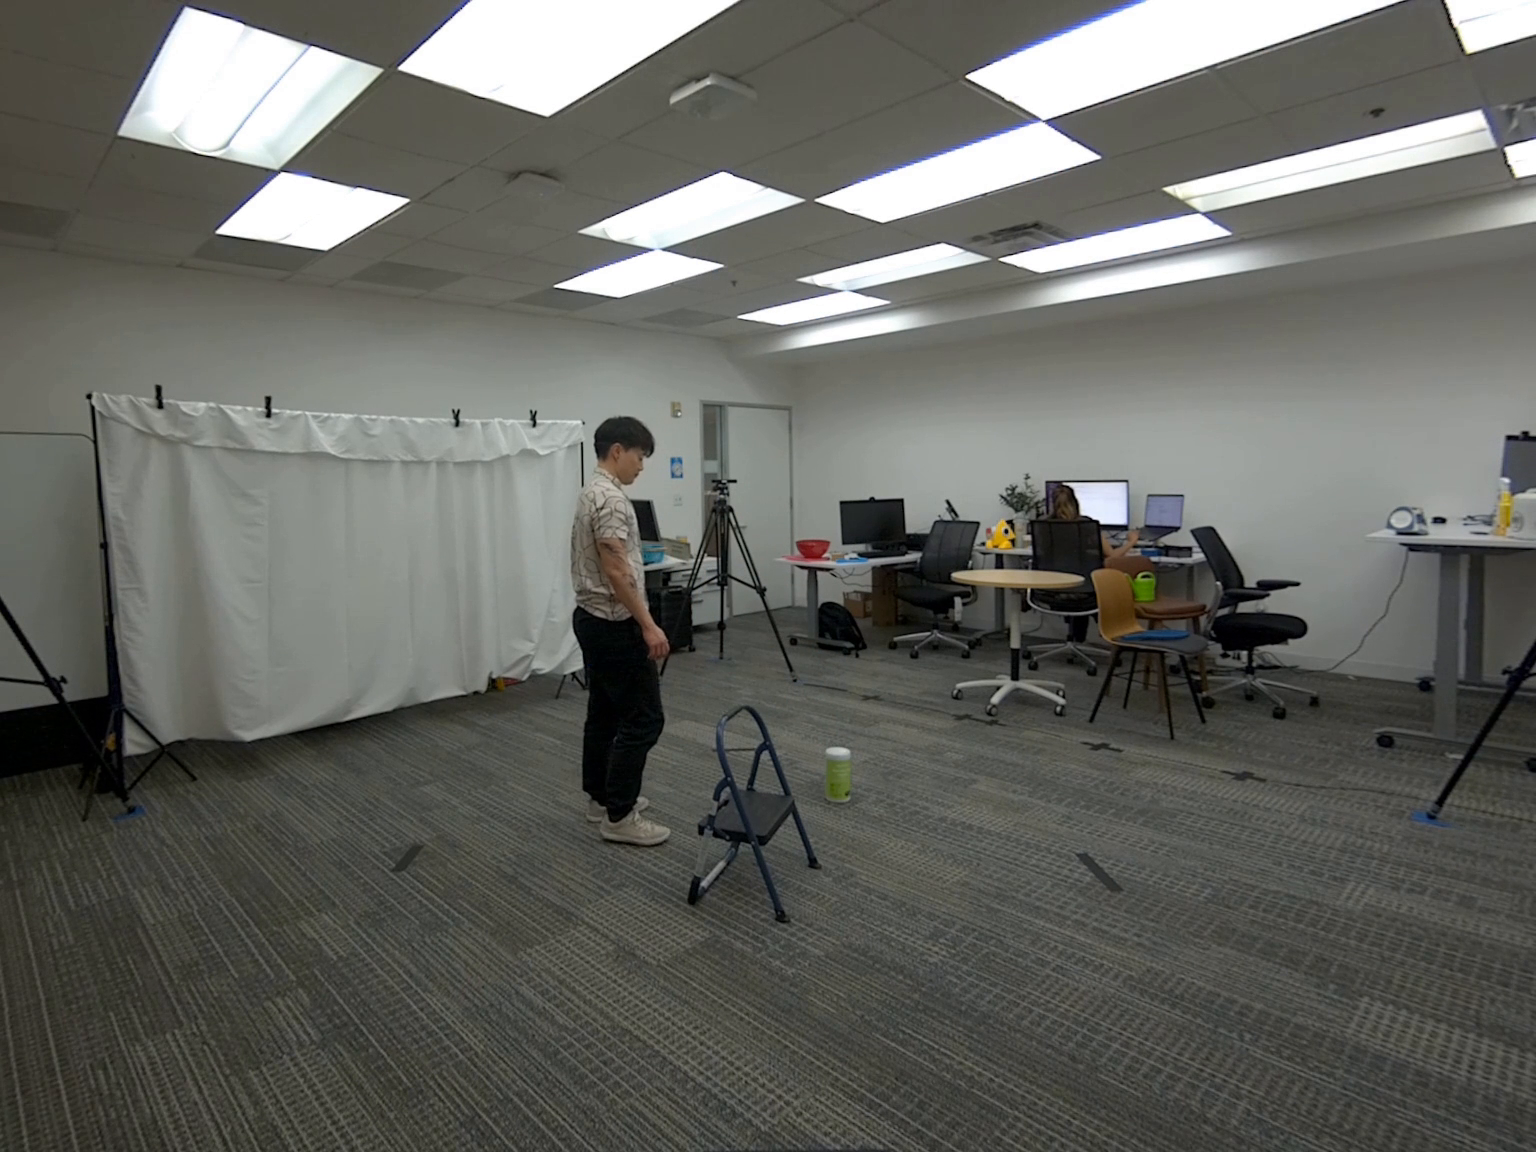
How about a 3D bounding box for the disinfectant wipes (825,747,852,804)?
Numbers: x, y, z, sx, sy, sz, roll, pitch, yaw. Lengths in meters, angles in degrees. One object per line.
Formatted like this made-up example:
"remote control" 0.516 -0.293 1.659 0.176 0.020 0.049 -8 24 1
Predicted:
"disinfectant wipes" 0.302 0.856 3.717 0.118 0.217 0.118 -1 4 -2
